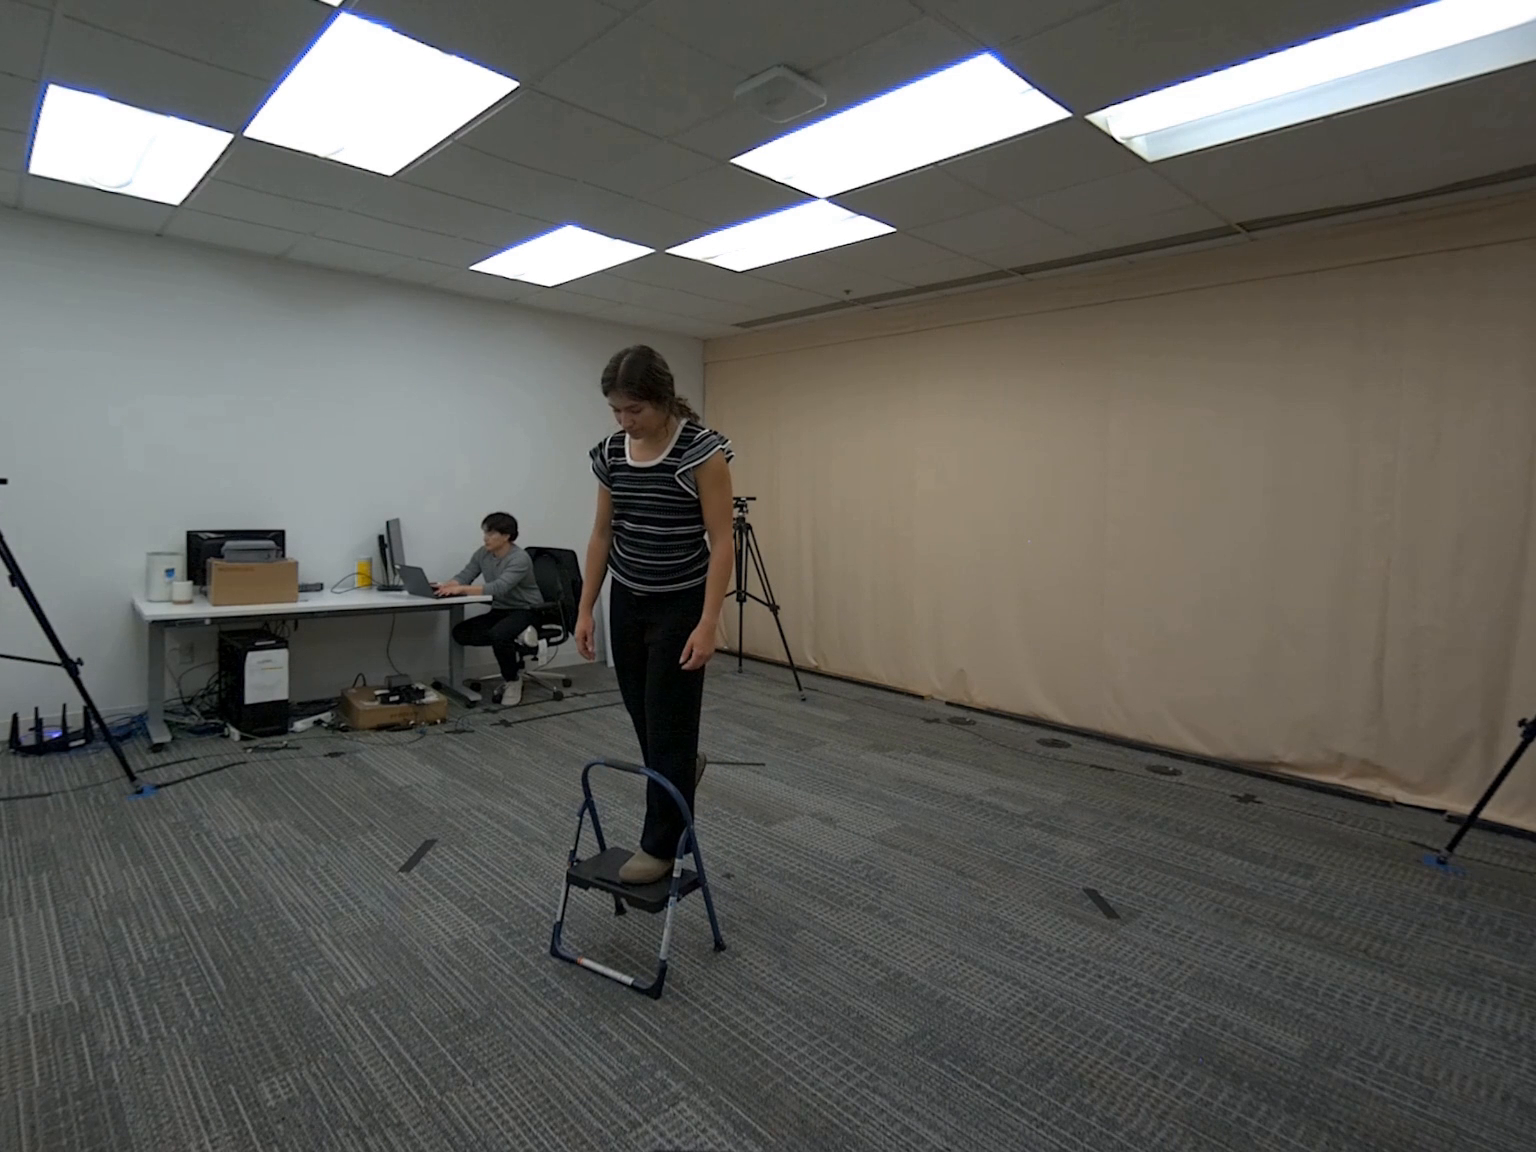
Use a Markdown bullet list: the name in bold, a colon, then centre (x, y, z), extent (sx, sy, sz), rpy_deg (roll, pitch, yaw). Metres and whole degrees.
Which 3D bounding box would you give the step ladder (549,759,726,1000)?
- **step ladder**: centre (-0.400, 0.851, 2.558), extent (0.440, 0.604, 0.342), rpy_deg (3, 4, 31)
